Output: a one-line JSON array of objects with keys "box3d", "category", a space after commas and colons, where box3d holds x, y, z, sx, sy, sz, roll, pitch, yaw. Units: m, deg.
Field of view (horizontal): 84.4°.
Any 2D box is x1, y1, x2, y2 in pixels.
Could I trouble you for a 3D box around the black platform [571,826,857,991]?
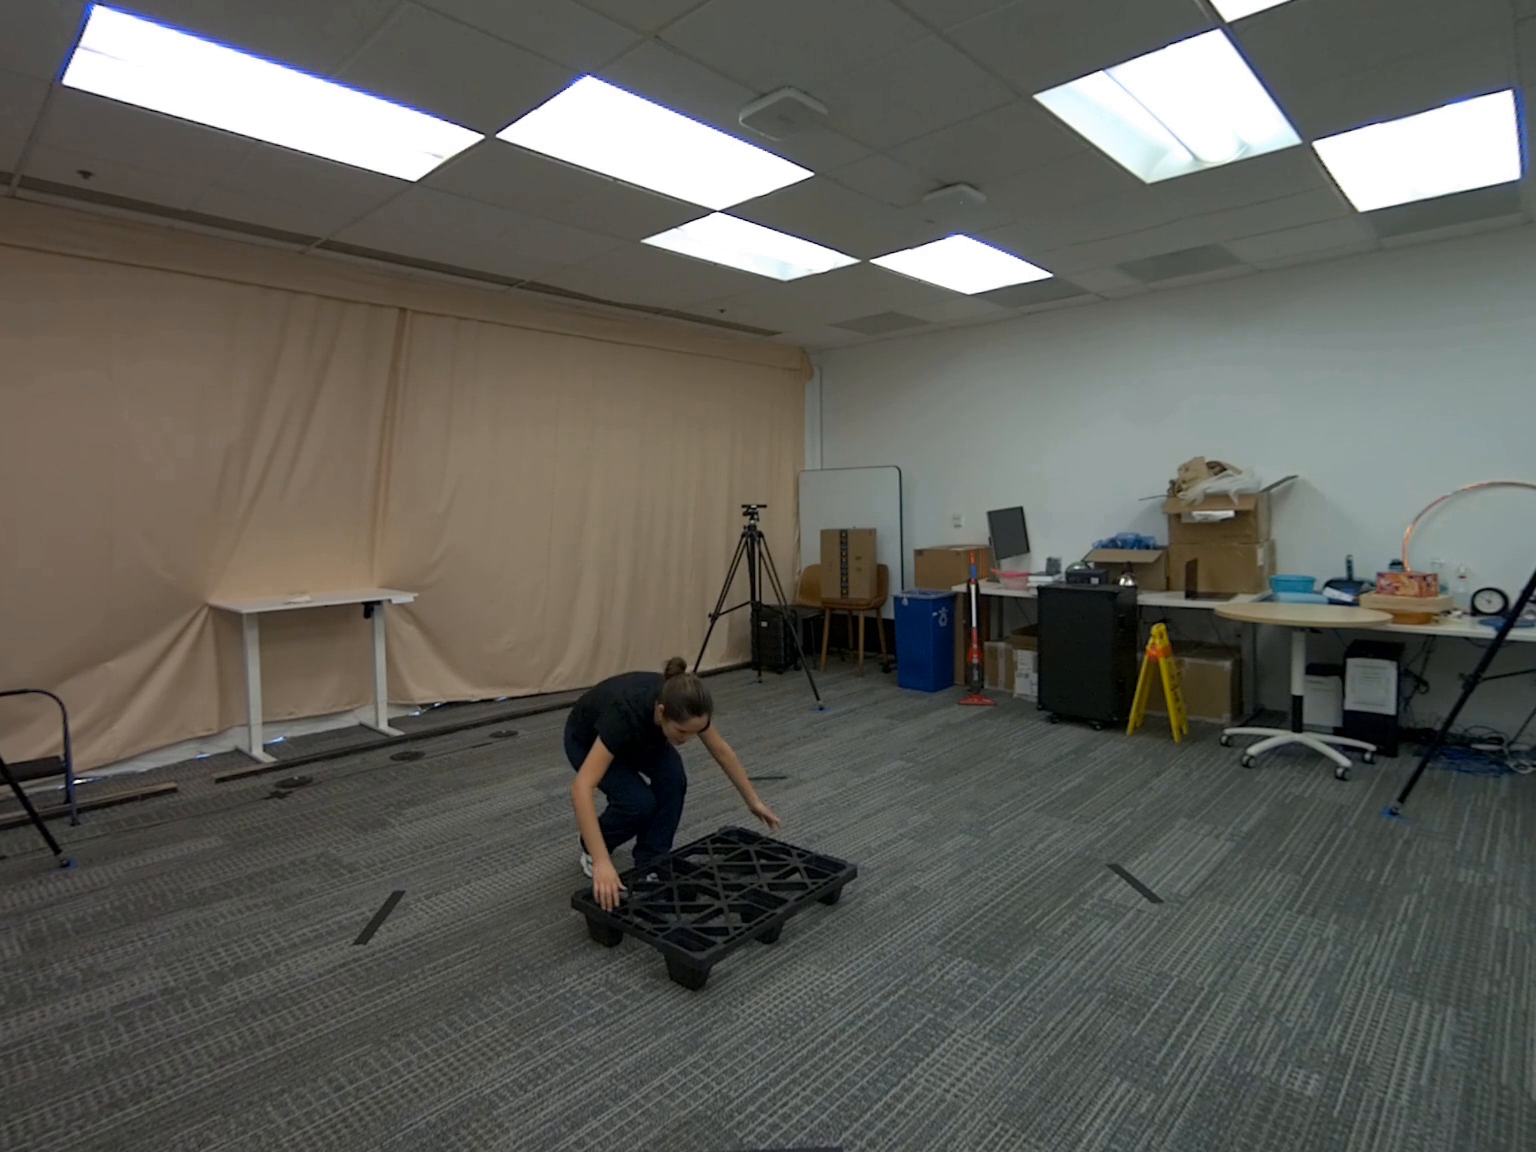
[{"box3d": [-0.149, 1.090, 2.830, 0.625, 0.143, 0.782, 3, 6, 40], "category": "black platform"}]
